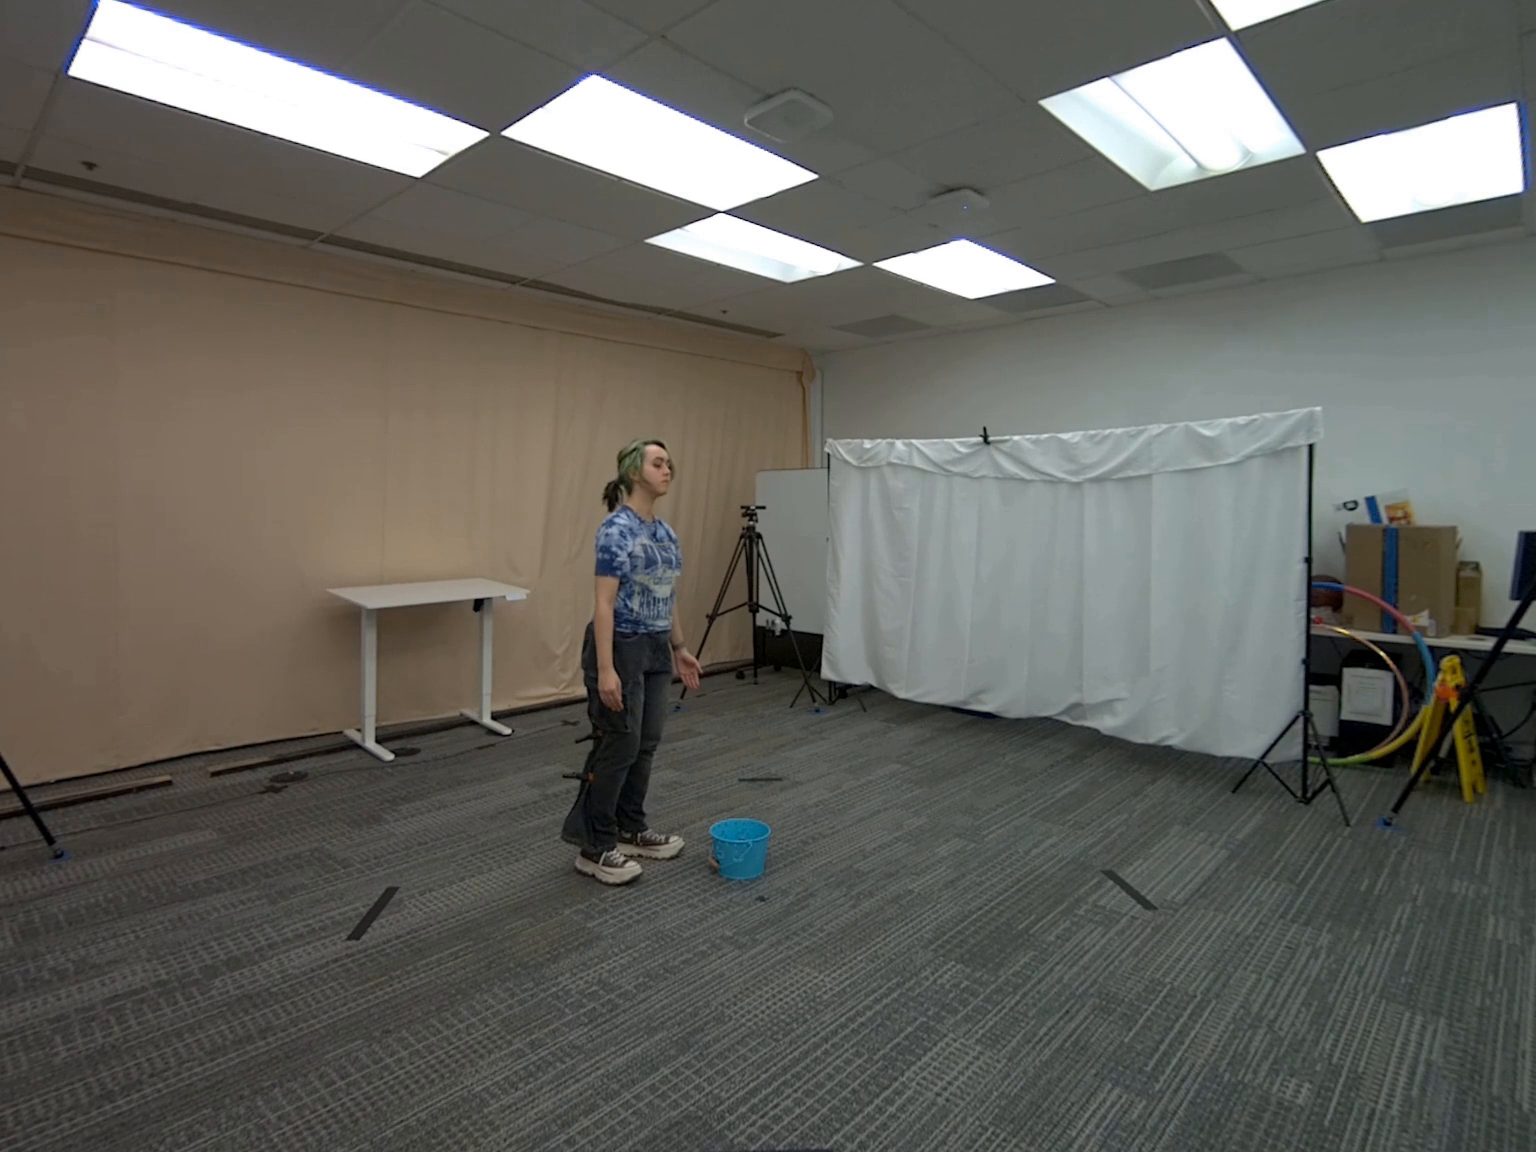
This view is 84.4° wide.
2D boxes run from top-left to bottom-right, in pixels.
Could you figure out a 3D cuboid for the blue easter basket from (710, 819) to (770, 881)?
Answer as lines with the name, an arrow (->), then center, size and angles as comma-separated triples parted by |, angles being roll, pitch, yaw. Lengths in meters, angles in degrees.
blue easter basket -> -0.104, 1.044, 3.227 | 0.243, 0.155, 0.244 | 0, 5, -2
